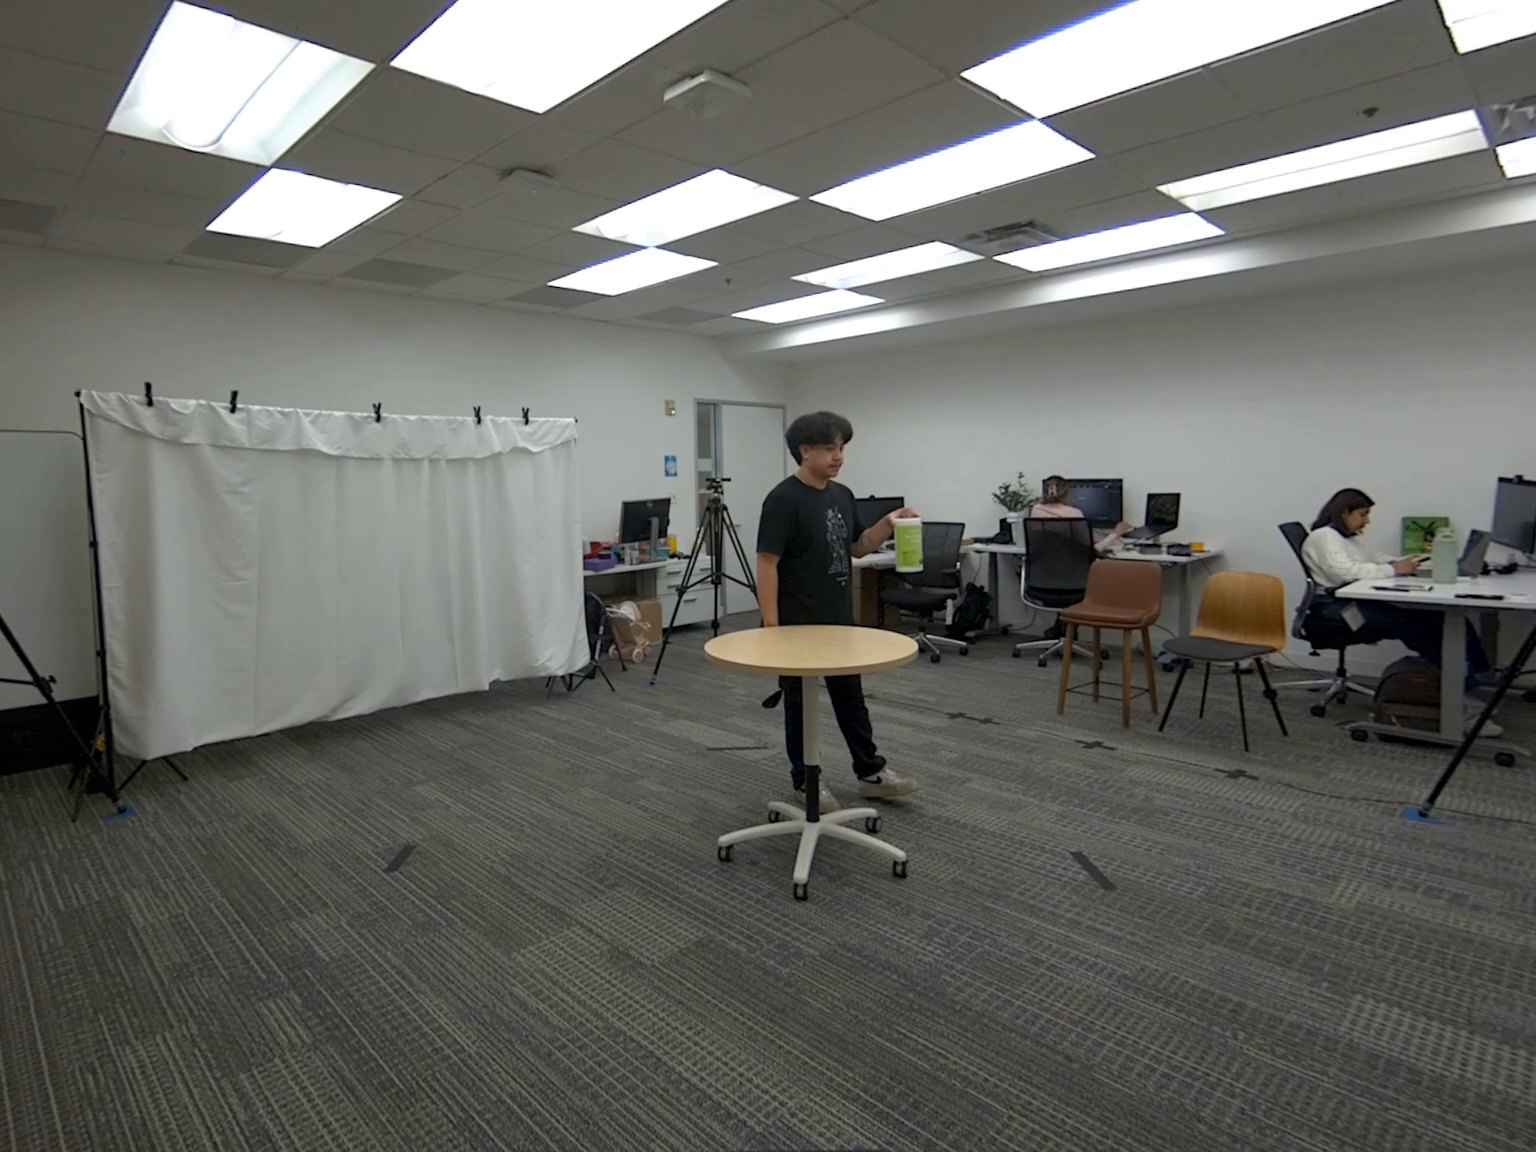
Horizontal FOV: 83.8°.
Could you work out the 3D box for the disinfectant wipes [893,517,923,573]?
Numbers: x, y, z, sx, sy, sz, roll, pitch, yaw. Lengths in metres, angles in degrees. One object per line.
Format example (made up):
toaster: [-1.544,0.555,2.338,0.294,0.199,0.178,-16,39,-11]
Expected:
disinfectant wipes: [0.565,-0.125,3.467,0.118,0.216,0.118,-1,6,-2]
